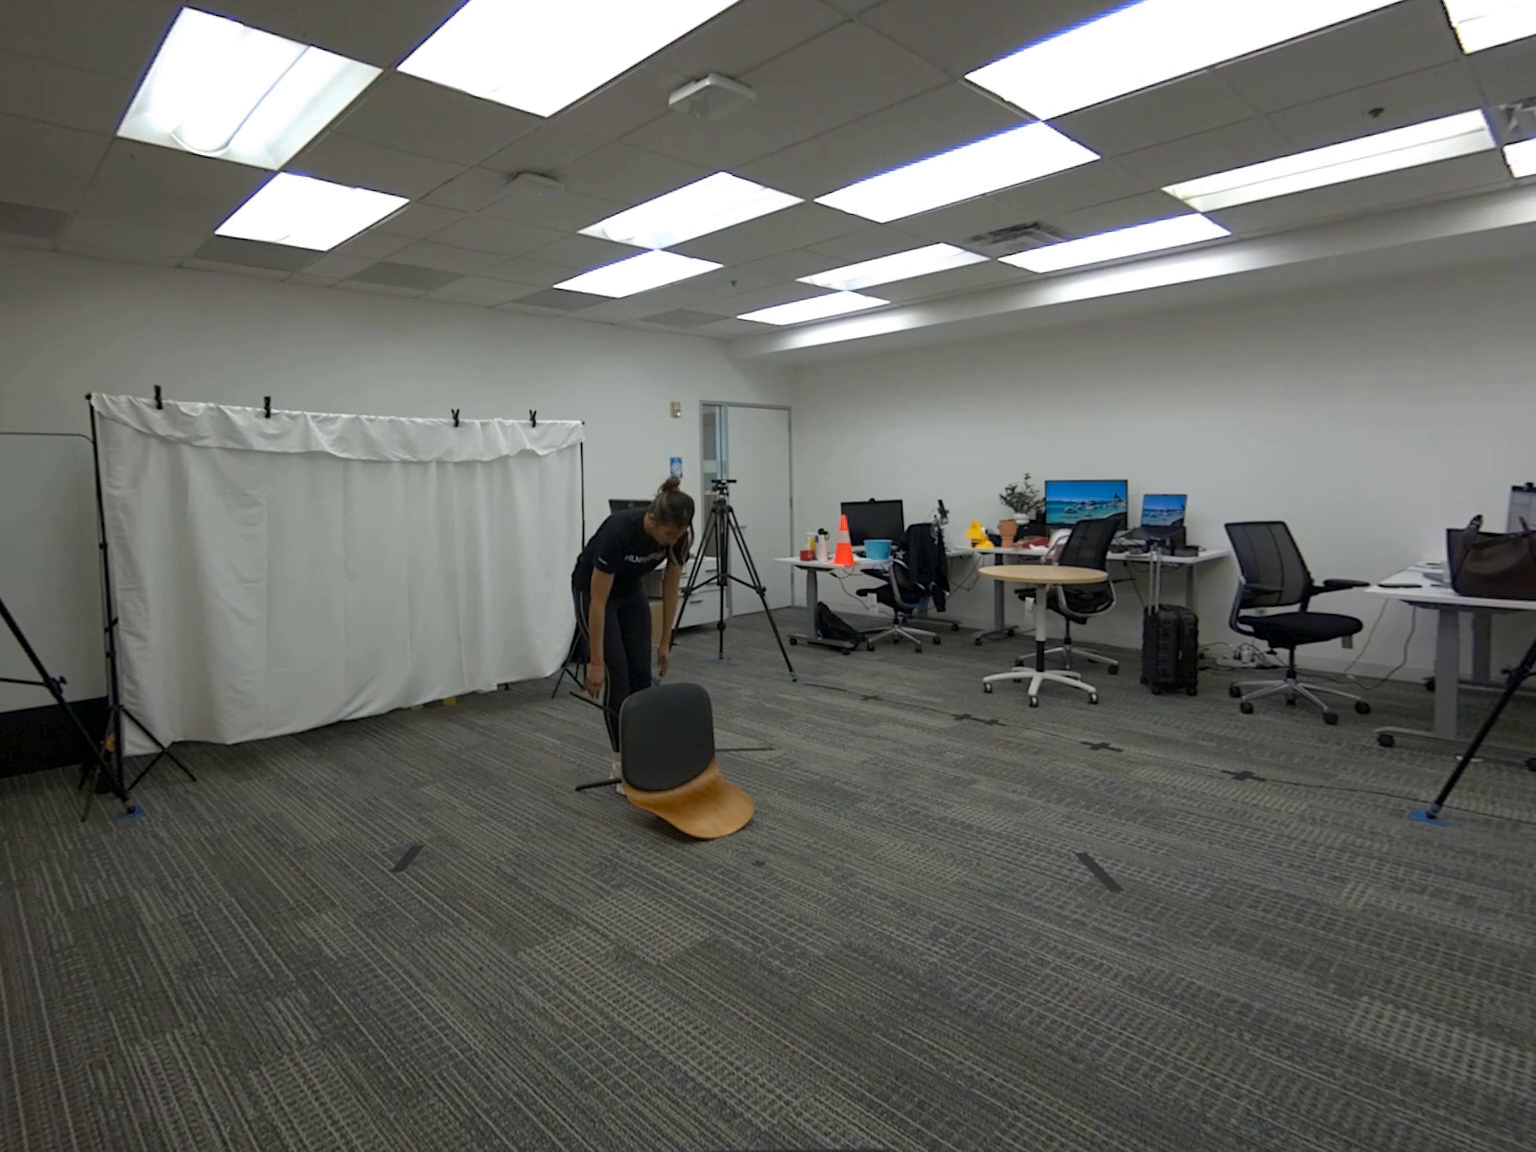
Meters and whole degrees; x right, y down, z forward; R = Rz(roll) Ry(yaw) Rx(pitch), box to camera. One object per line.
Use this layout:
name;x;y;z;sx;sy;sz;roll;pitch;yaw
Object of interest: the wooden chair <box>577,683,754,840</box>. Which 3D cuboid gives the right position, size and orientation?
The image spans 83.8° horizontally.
wooden chair;-0.449;0.731;3.677;0.466;0.521;0.904;-5;8;-38
